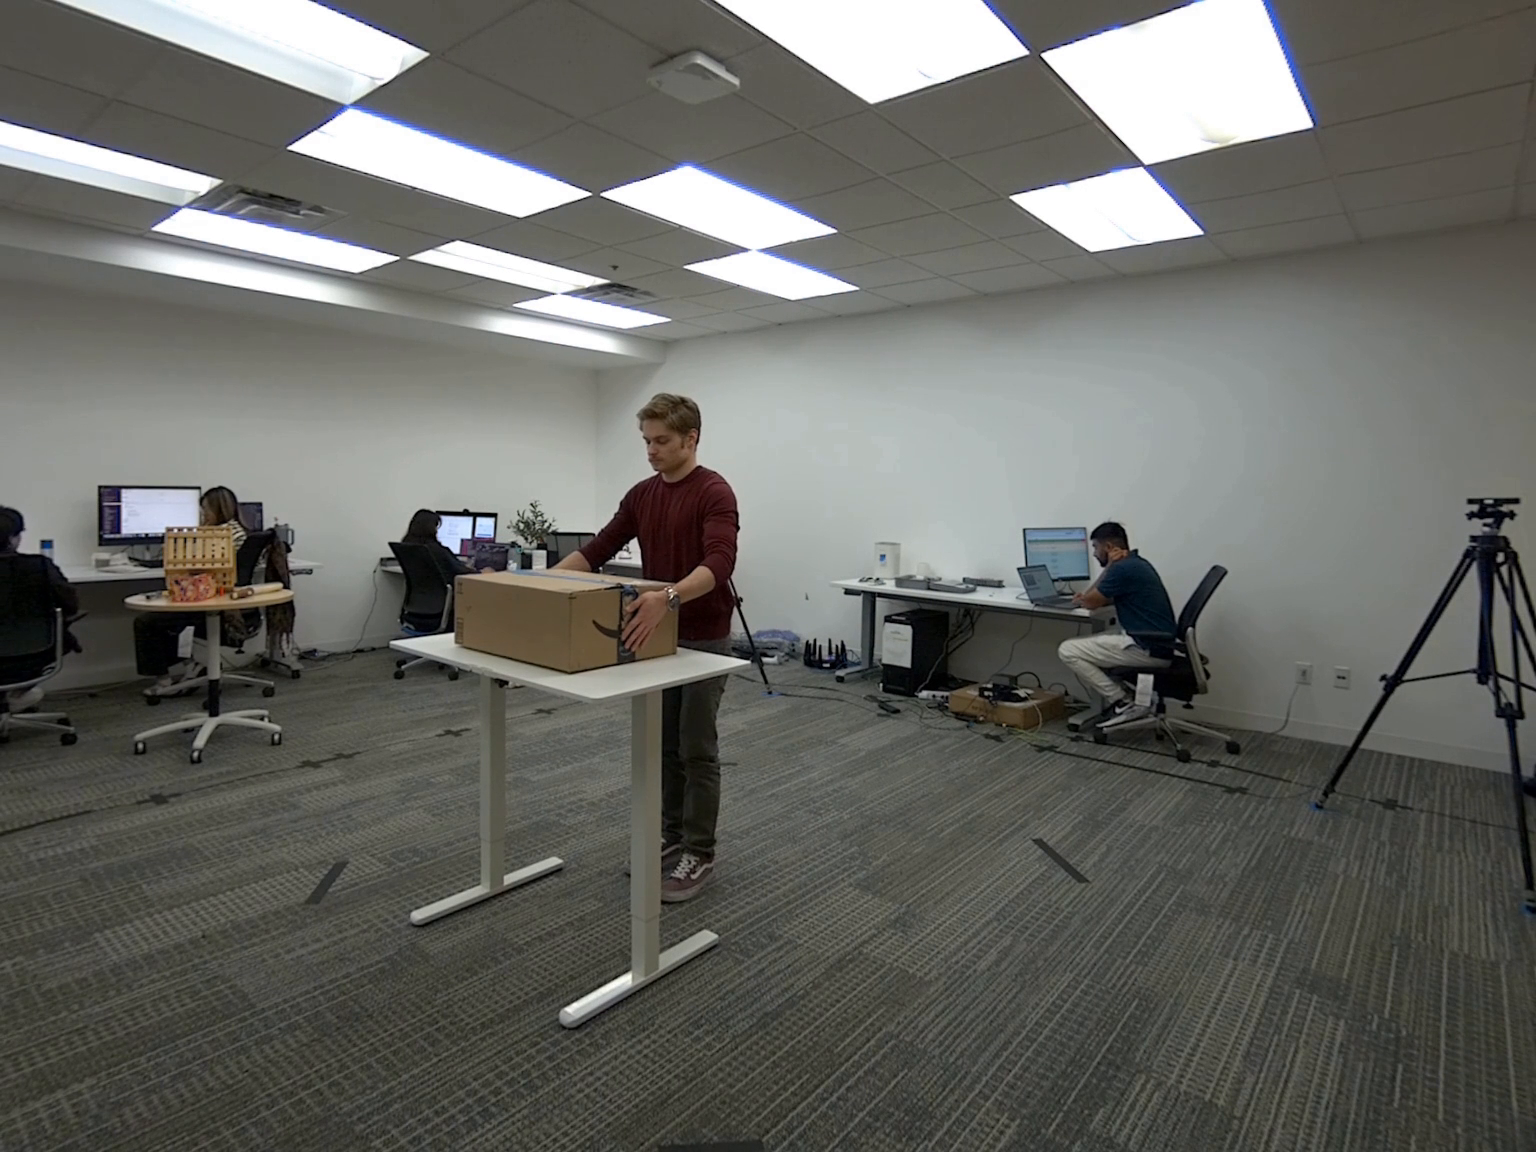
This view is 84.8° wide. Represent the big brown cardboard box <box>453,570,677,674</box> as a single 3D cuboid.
[{"bbox_3d":[-0.628,0.114,2.602,0.609,0.232,0.405,5,6,40],"label":"big brown cardboard box"}]
